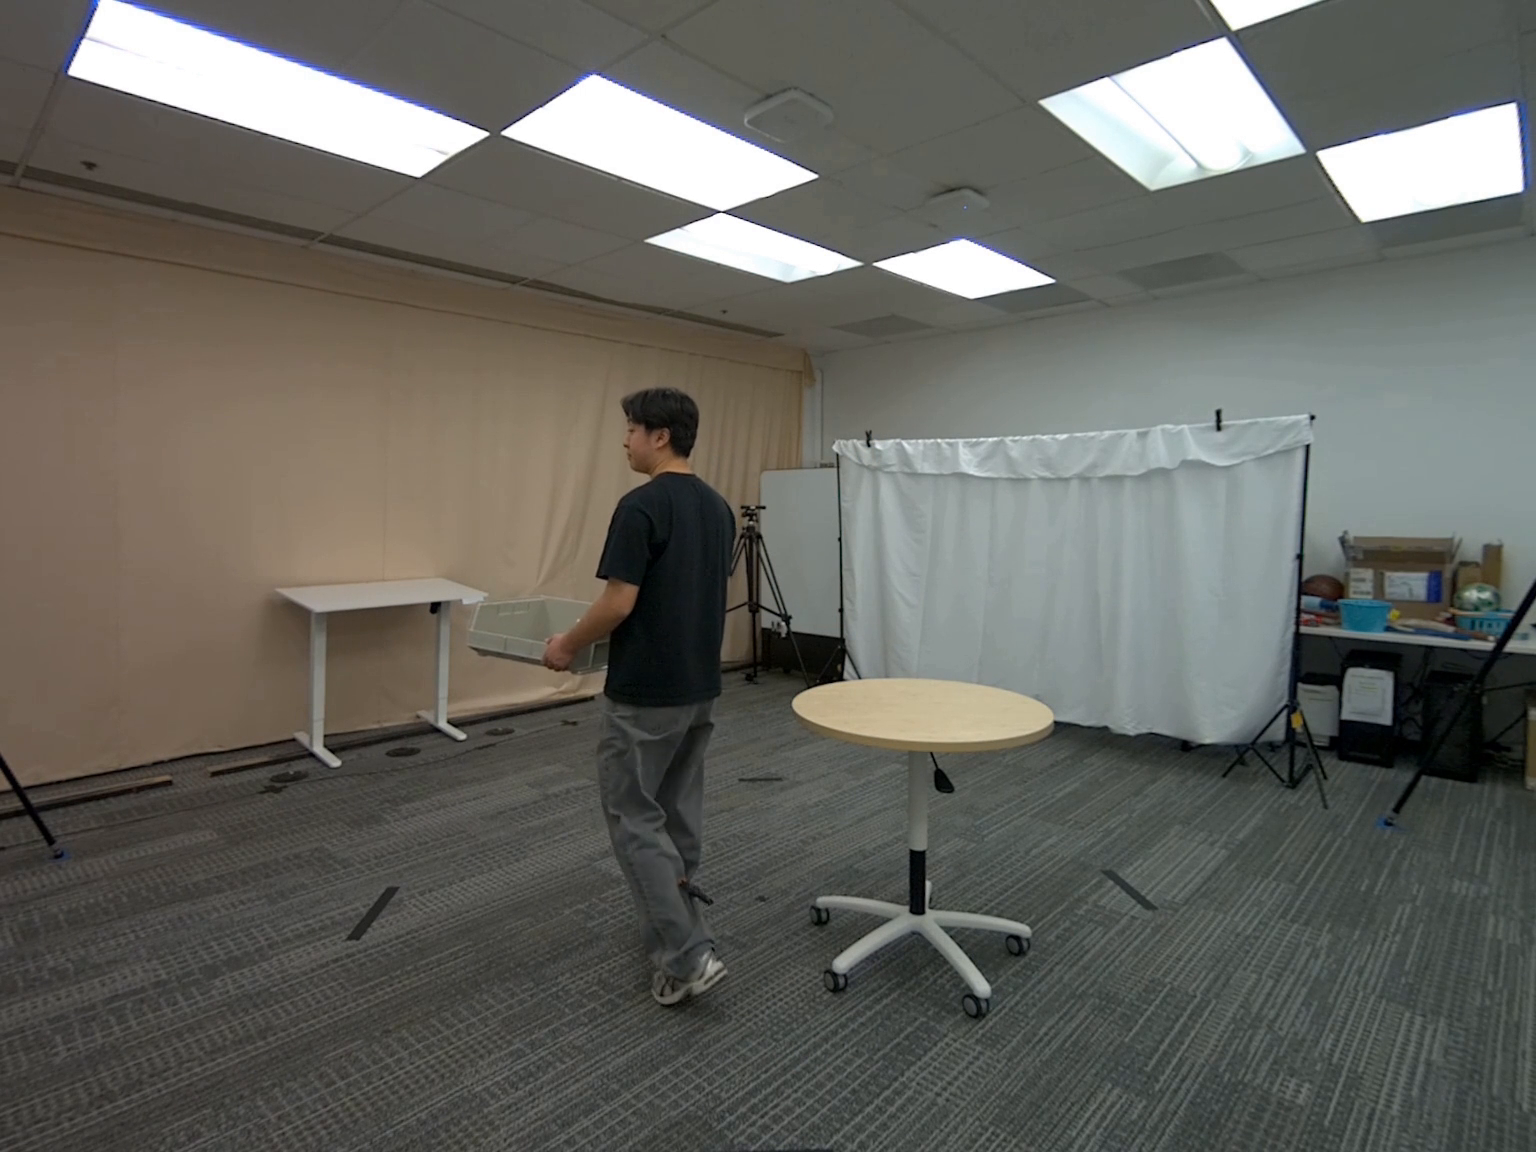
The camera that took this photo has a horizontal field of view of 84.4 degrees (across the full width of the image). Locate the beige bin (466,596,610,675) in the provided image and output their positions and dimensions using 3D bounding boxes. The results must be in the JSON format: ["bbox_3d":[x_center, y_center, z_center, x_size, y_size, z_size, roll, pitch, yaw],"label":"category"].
[{"bbox_3d":[-0.705,0.196,2.757,0.434,0.189,0.367,5,2,26],"label":"beige bin"}]
